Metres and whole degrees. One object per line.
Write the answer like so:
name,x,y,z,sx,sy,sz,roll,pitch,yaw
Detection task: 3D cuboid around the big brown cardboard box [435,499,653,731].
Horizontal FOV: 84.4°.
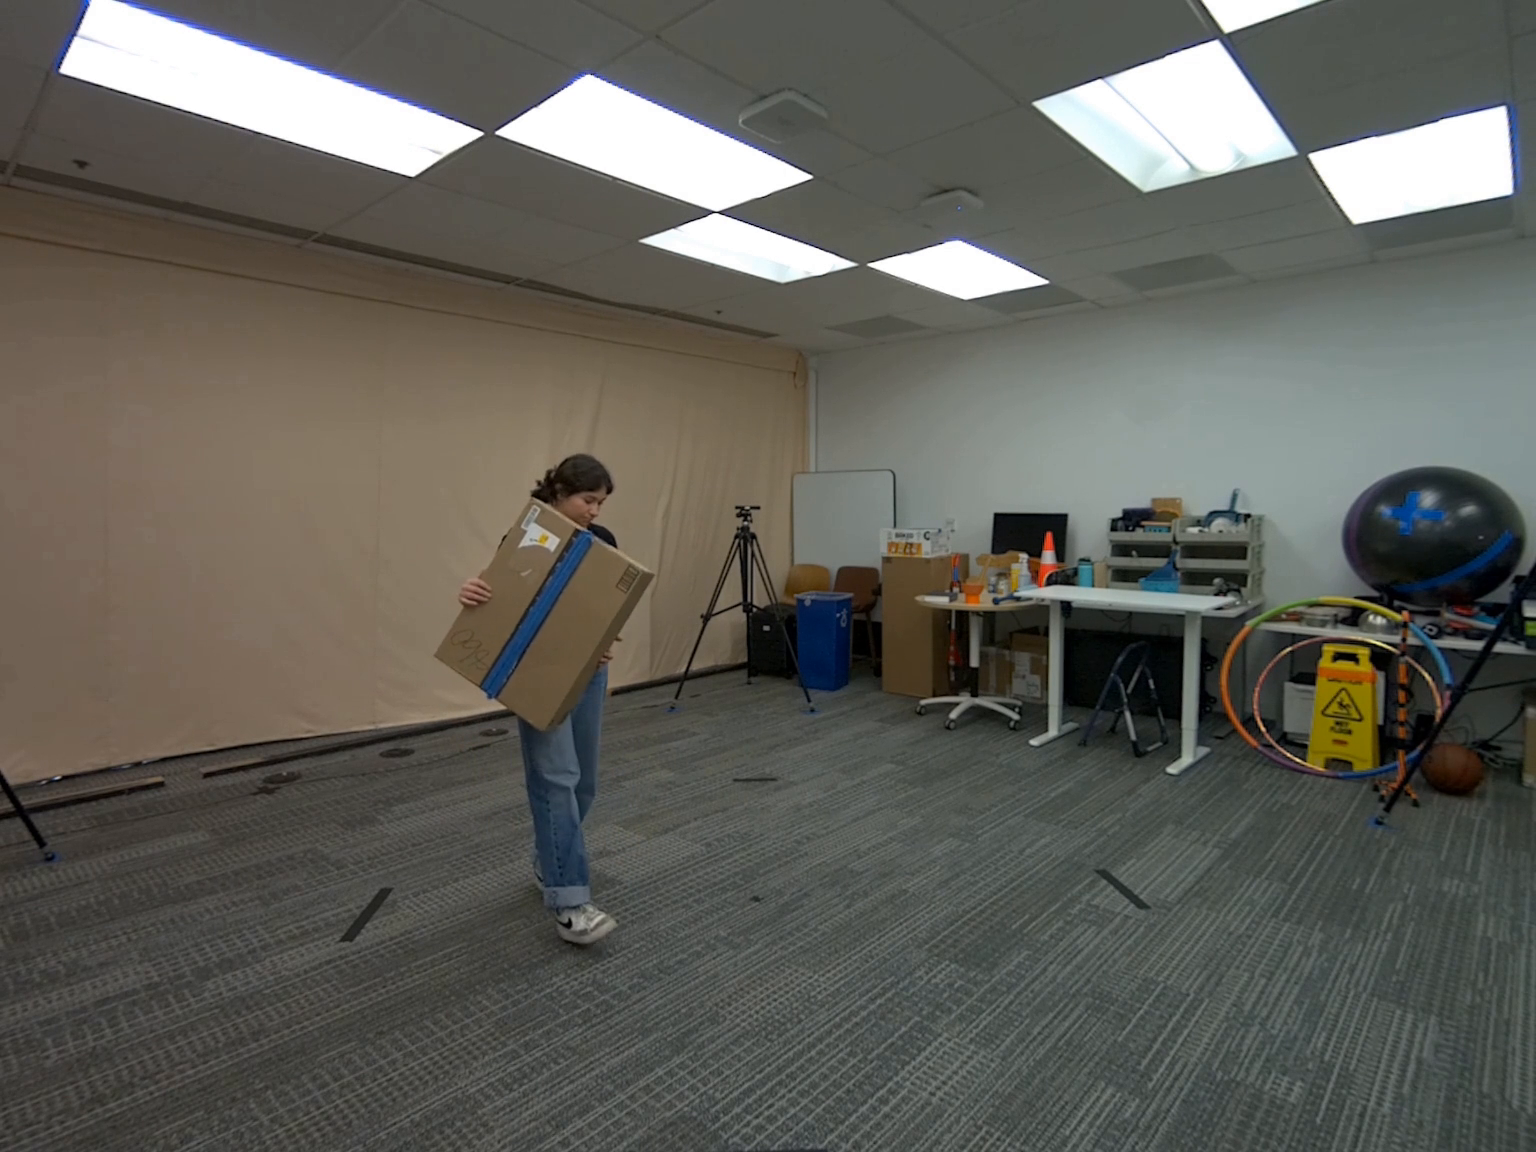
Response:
big brown cardboard box,-0.677,0.119,2.615,0.422,0.589,0.231,31,0,7
